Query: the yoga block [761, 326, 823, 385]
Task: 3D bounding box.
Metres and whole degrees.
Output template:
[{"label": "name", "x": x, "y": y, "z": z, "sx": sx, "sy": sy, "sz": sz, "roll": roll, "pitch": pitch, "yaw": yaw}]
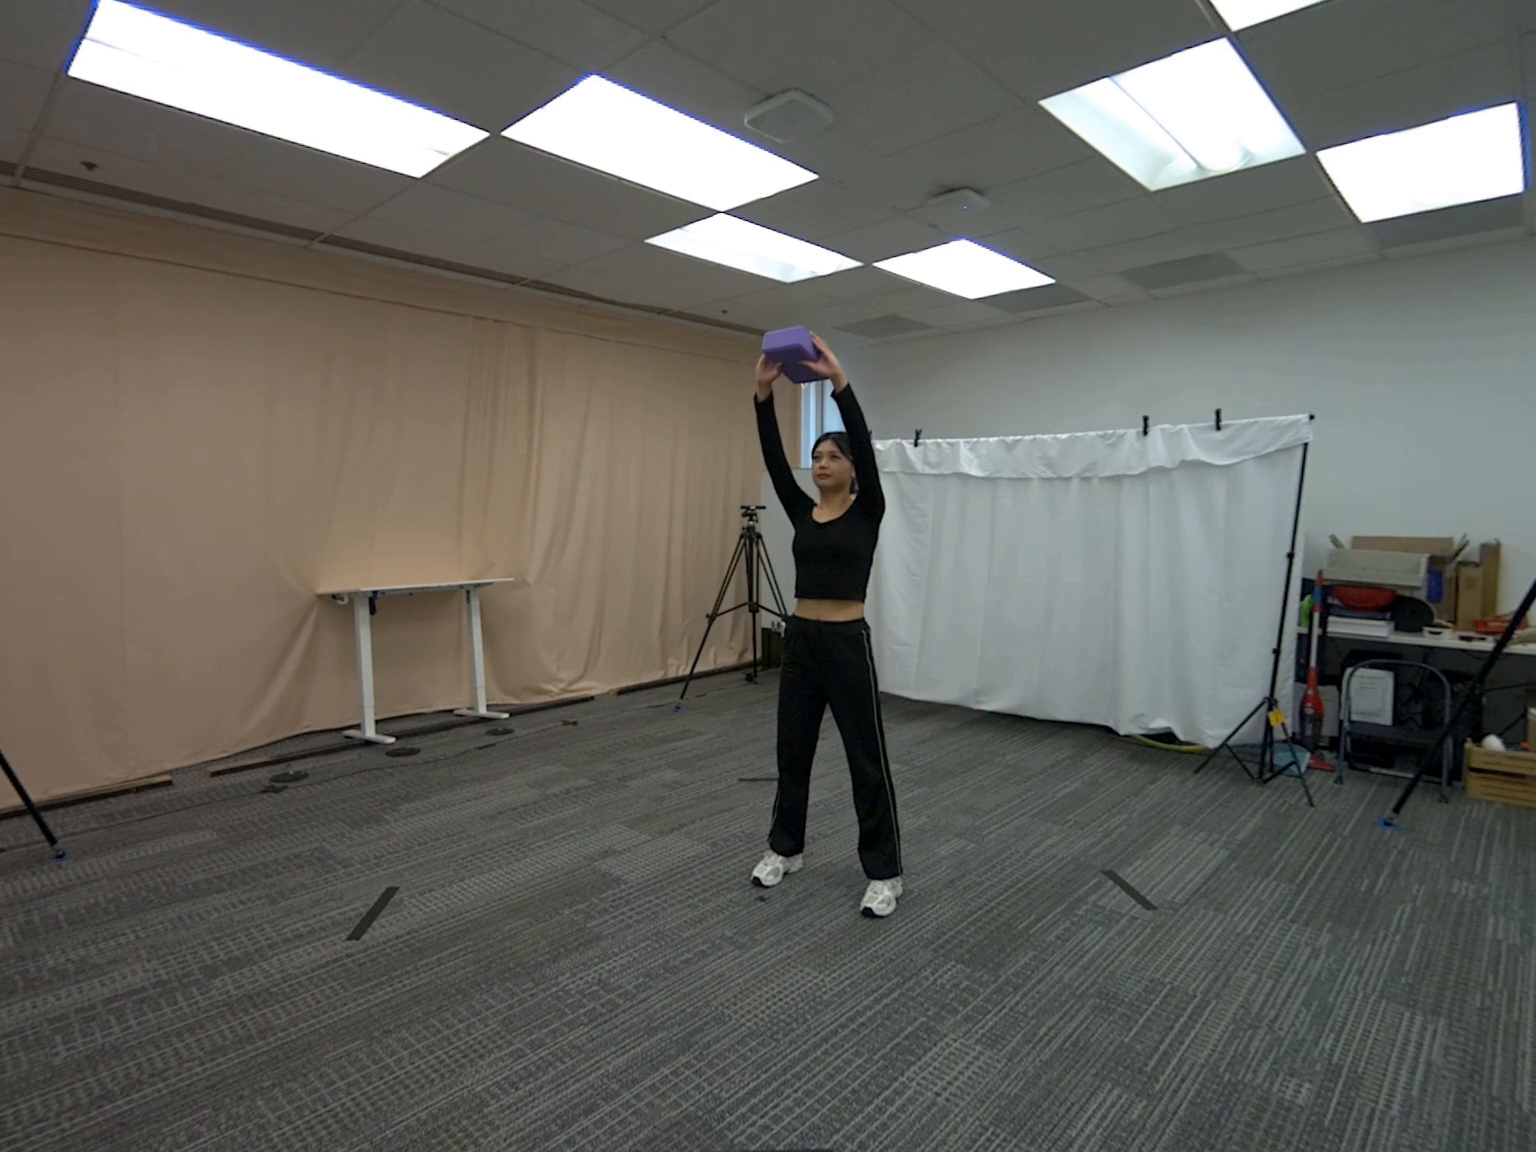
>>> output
[{"label": "yoga block", "x": 0.100, "y": -0.714, "z": 2.751, "sx": 0.153, "sy": 0.077, "sz": 0.221, "roll": 0, "pitch": -18, "yaw": 32}]
